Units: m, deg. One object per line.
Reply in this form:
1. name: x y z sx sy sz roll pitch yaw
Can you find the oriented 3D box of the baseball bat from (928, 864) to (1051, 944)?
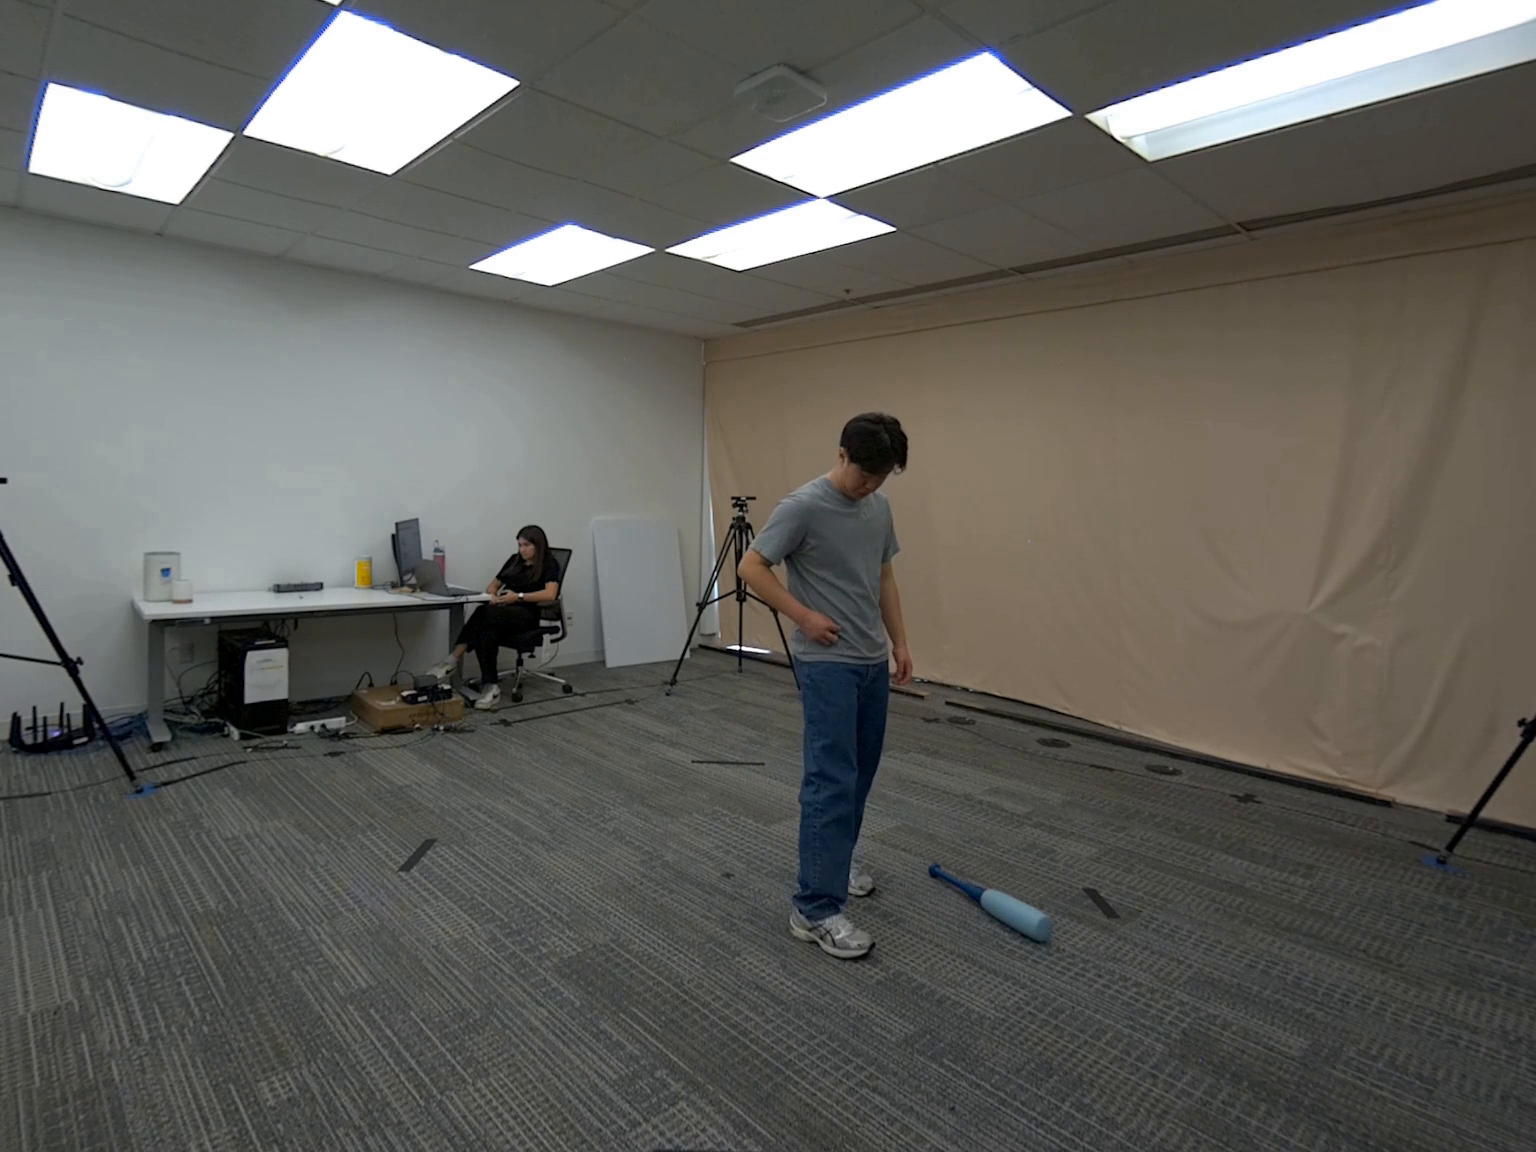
1. baseball bat: 0.738 1.113 2.905 0.087 0.089 0.554 -1 2 -28
